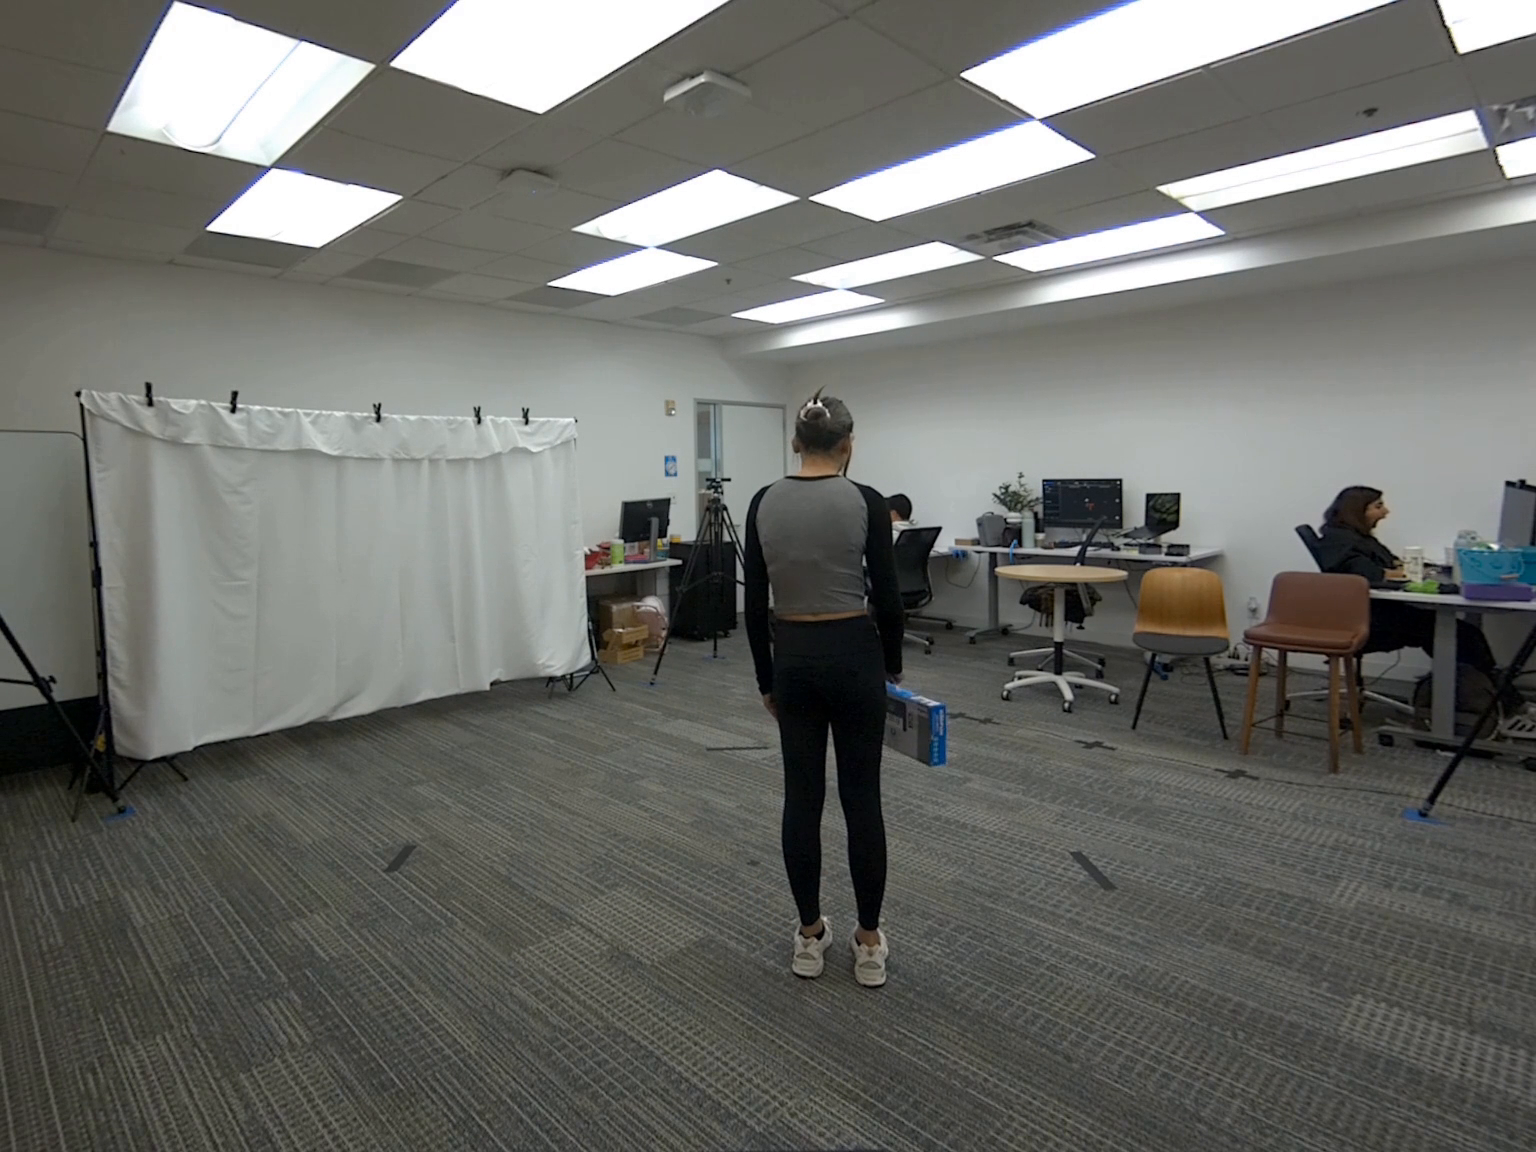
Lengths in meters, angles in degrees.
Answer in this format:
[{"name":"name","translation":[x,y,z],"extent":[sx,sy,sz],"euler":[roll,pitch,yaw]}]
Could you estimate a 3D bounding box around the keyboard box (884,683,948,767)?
[{"name":"keyboard box","translation":[0.370,0.427,2.568],"extent":[0.058,0.175,0.449],"euler":[-4,8,-28]}]
